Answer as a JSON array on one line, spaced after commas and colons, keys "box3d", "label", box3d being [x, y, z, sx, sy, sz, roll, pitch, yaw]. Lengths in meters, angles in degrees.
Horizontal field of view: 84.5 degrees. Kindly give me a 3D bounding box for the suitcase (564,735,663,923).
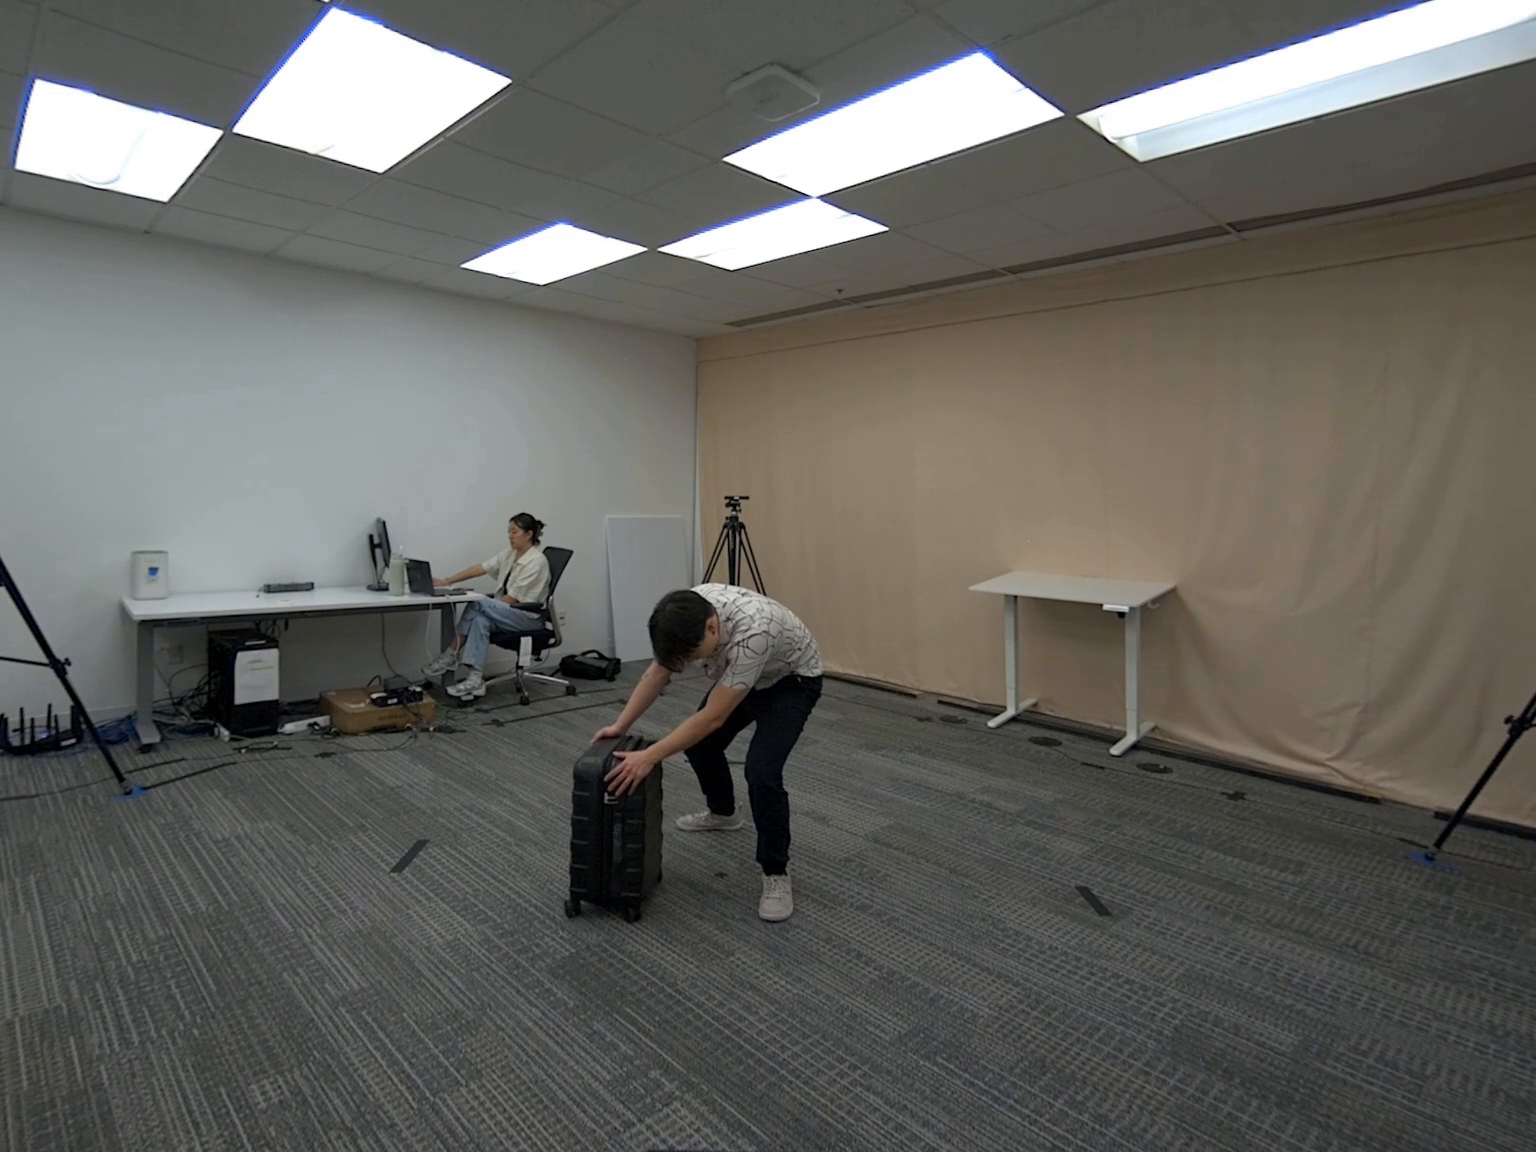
[{"box3d": [-0.520, 0.846, 2.877, 0.250, 0.547, 0.374, 2, 6, 7], "label": "suitcase"}]
